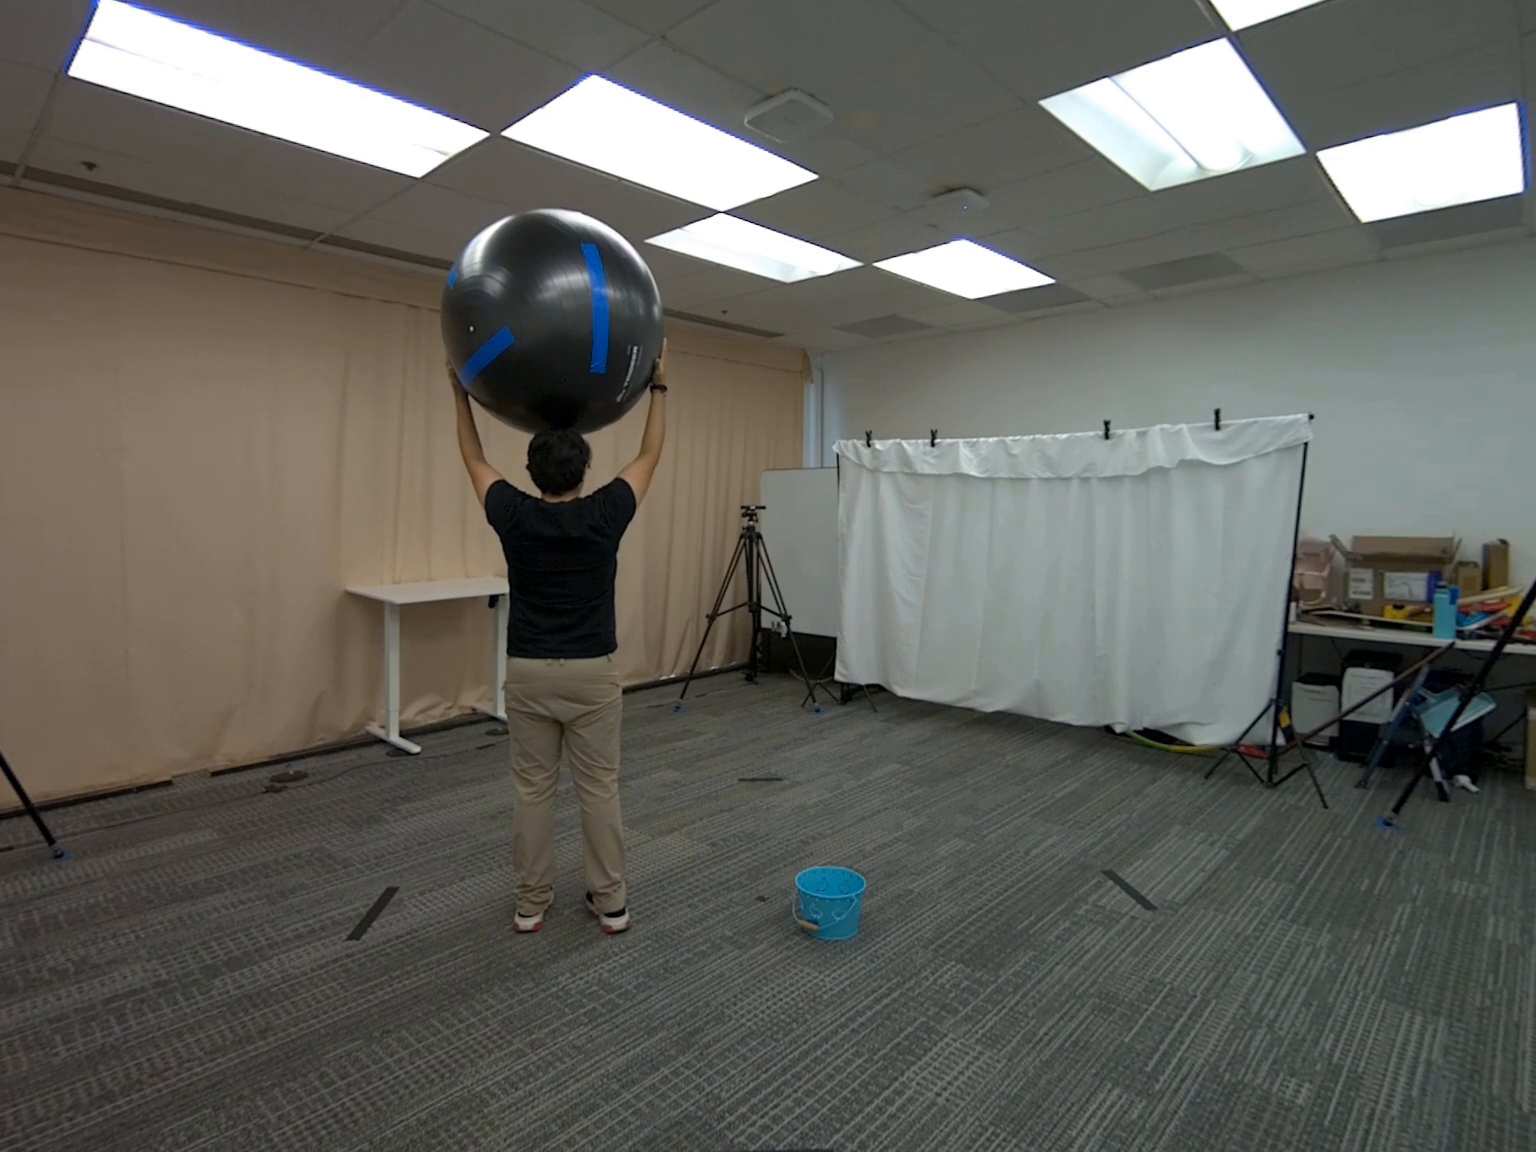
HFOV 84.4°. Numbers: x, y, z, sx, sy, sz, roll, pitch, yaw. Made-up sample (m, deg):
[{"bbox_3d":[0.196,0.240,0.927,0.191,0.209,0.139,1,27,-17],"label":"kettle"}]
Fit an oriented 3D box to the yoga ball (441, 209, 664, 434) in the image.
[{"bbox_3d":[-0.730,-0.854,2.912,0.757,0.756,0.761,0,4,-2],"label":"yoga ball"}]
